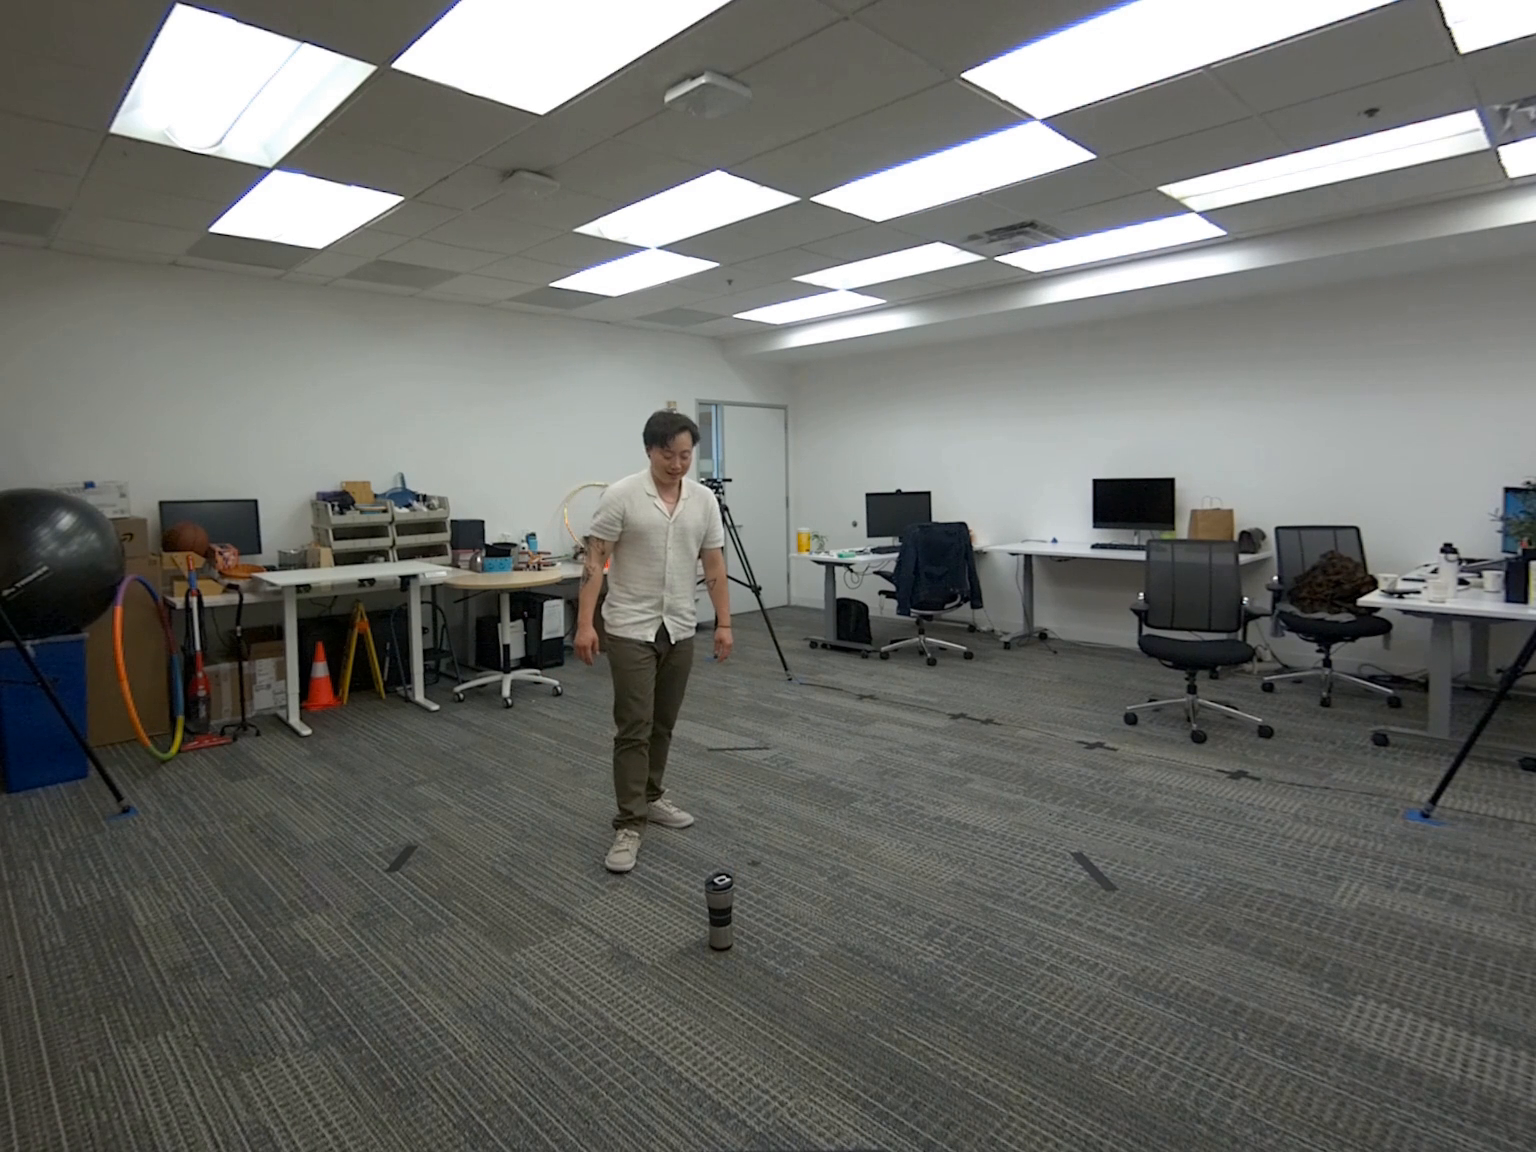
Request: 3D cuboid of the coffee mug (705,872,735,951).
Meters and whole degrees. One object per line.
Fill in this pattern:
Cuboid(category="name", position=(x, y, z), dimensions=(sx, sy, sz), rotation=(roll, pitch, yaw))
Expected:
Cuboid(category="coffee mug", position=(-0.127, 1.013, 2.571), dimensions=(0.090, 0.202, 0.119), rotation=(-2, 6, 40))
